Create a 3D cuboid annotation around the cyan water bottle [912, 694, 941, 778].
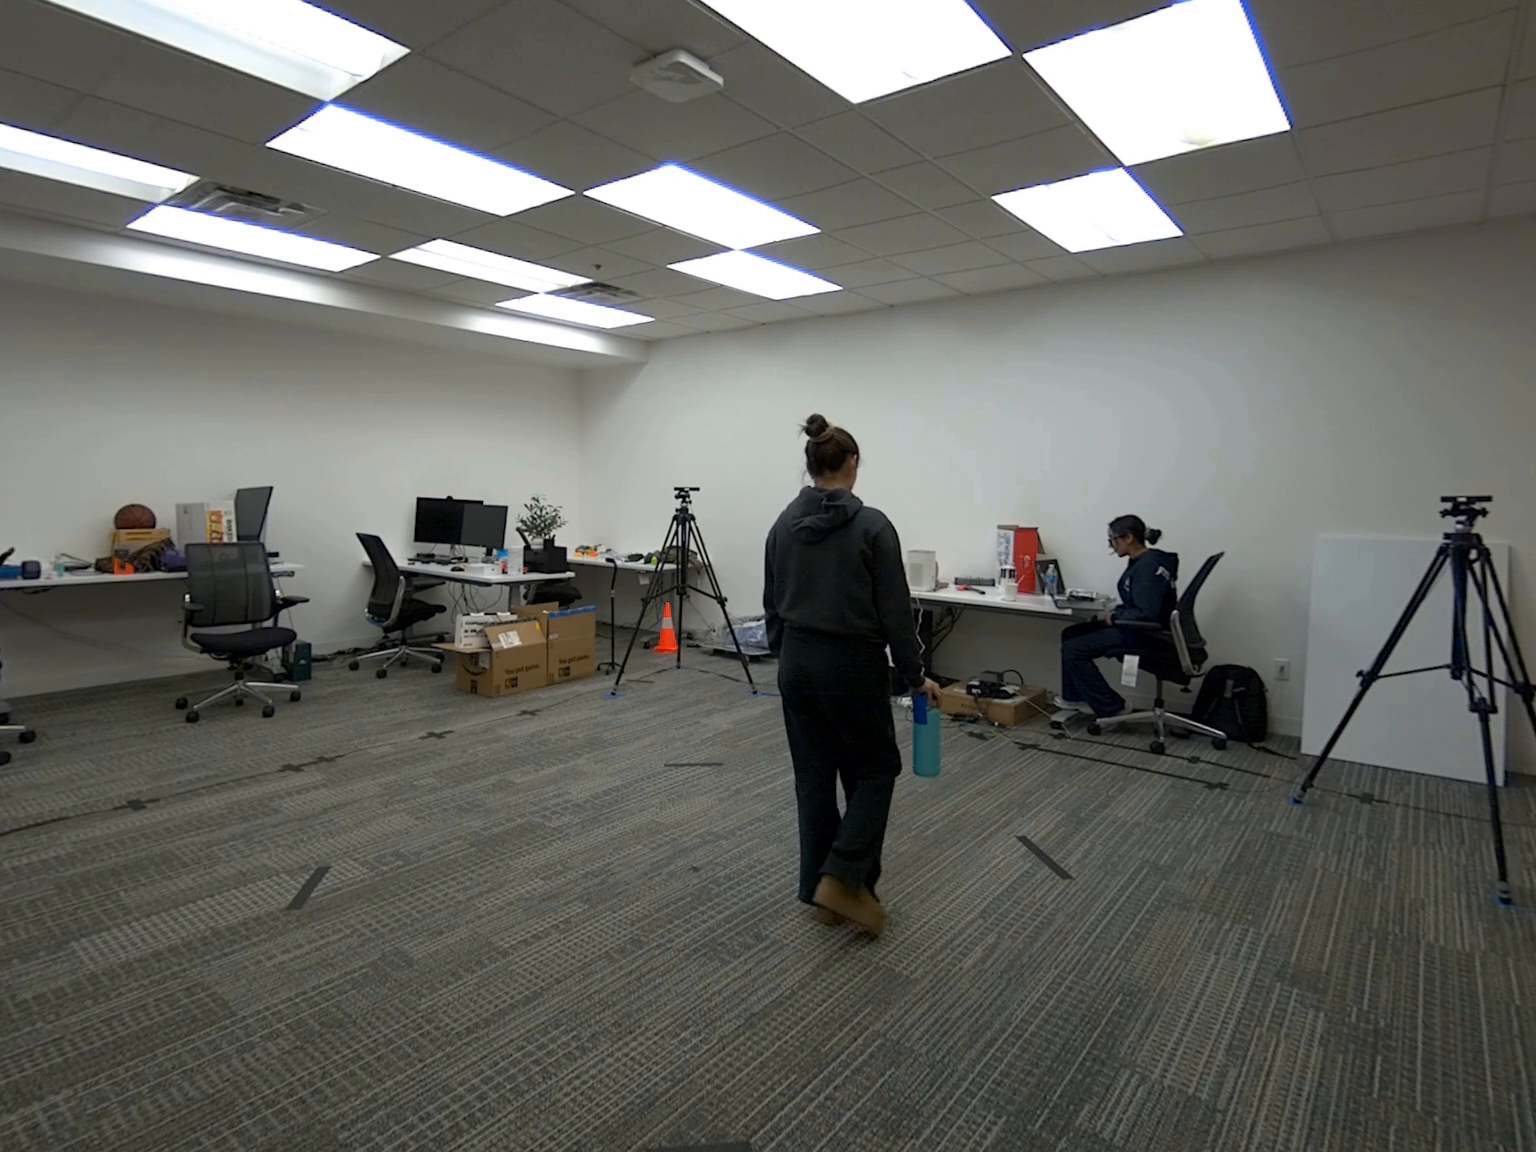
[{"bbox_3d":[0.514,0.507,2.755,0.092,0.282,0.093,0,5,-2],"label":"cyan water bottle"}]
